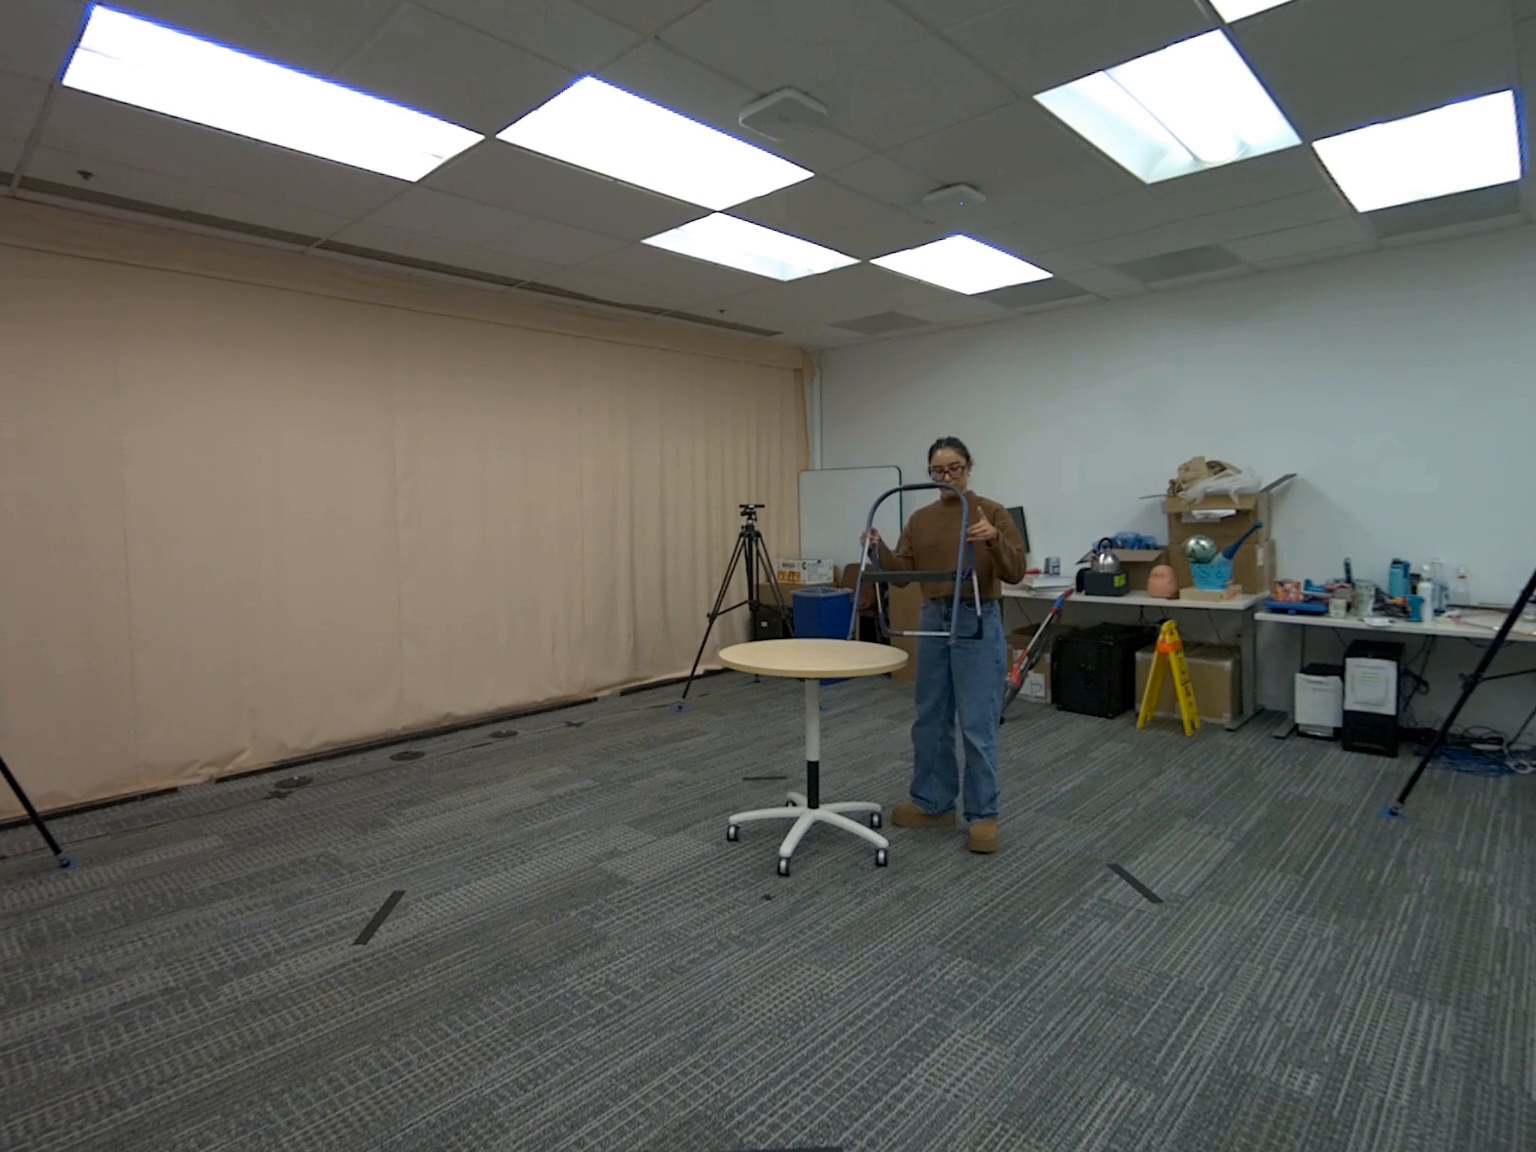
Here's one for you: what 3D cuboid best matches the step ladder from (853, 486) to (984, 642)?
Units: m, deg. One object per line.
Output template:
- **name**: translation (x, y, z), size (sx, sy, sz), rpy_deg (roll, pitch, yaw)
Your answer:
- **step ladder**: translation (0.571, -0.053, 3.237), size (0.443, 0.606, 0.339), rpy_deg (-2, -1, 33)
